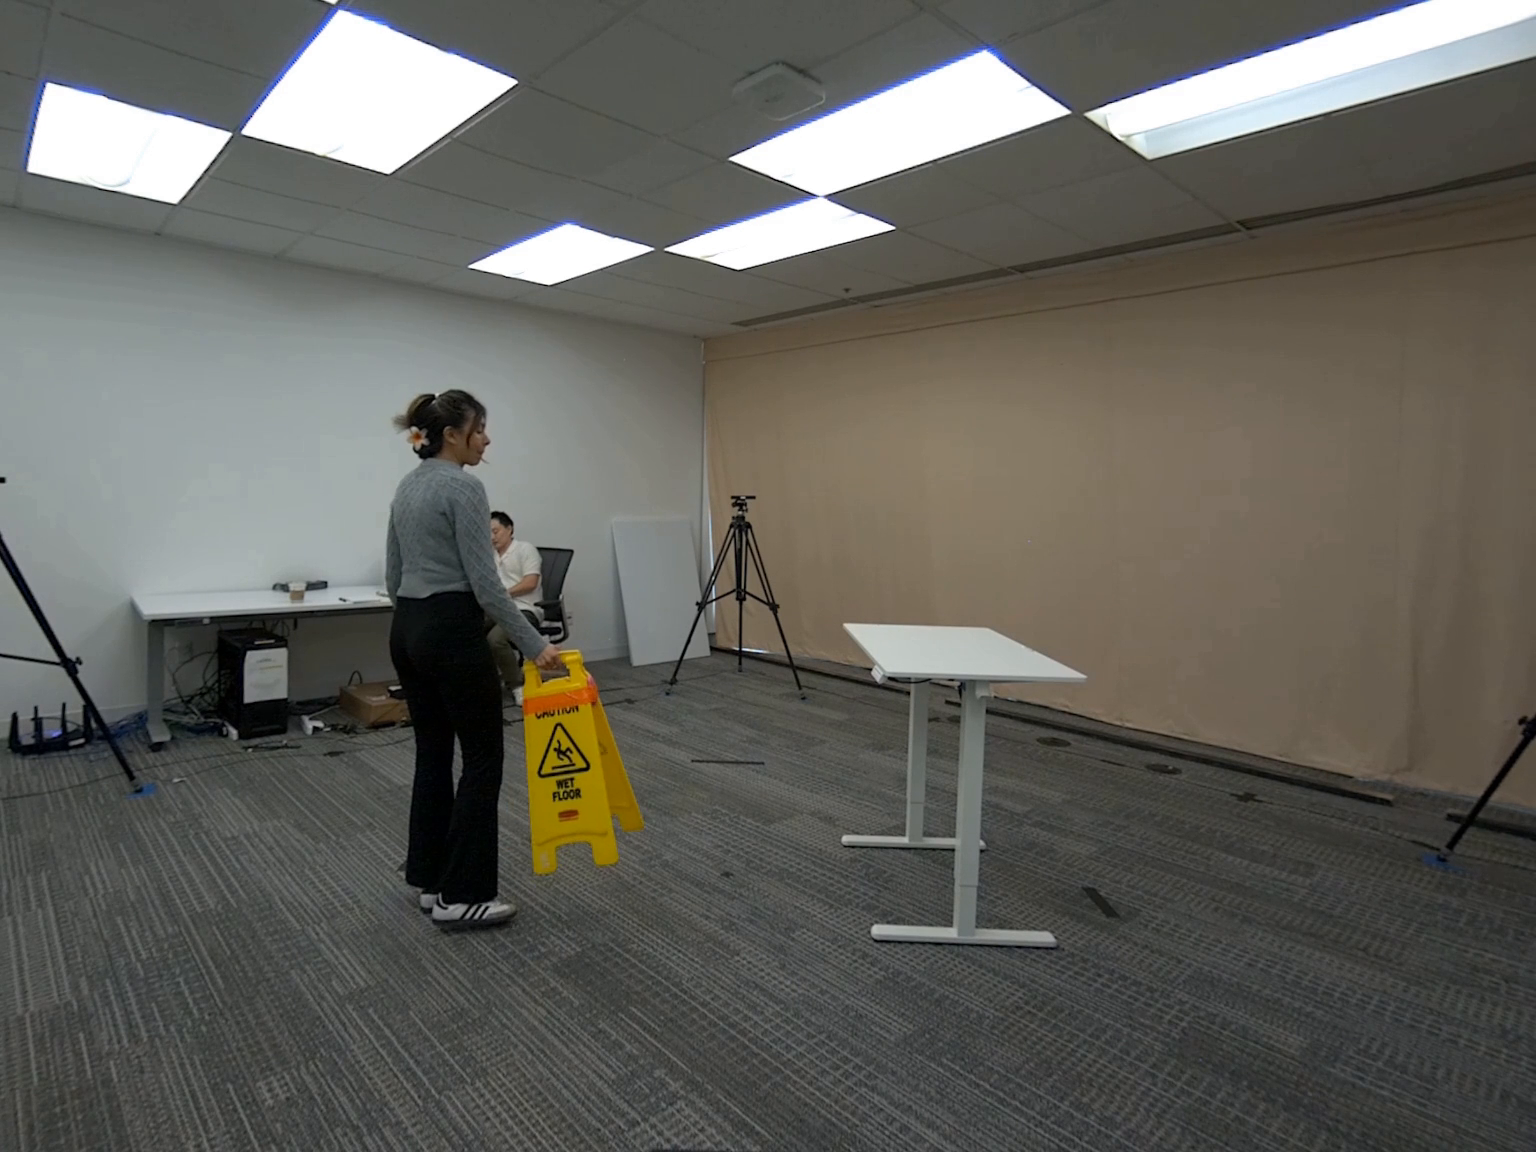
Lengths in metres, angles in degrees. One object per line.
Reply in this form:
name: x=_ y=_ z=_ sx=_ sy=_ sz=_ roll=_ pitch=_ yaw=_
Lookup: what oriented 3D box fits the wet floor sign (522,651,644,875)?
wet floor sign: x=-0.643 y=0.574 z=2.714 sx=0.284 sy=0.646 sz=0.288 roll=-10 pitch=0 yaw=9
